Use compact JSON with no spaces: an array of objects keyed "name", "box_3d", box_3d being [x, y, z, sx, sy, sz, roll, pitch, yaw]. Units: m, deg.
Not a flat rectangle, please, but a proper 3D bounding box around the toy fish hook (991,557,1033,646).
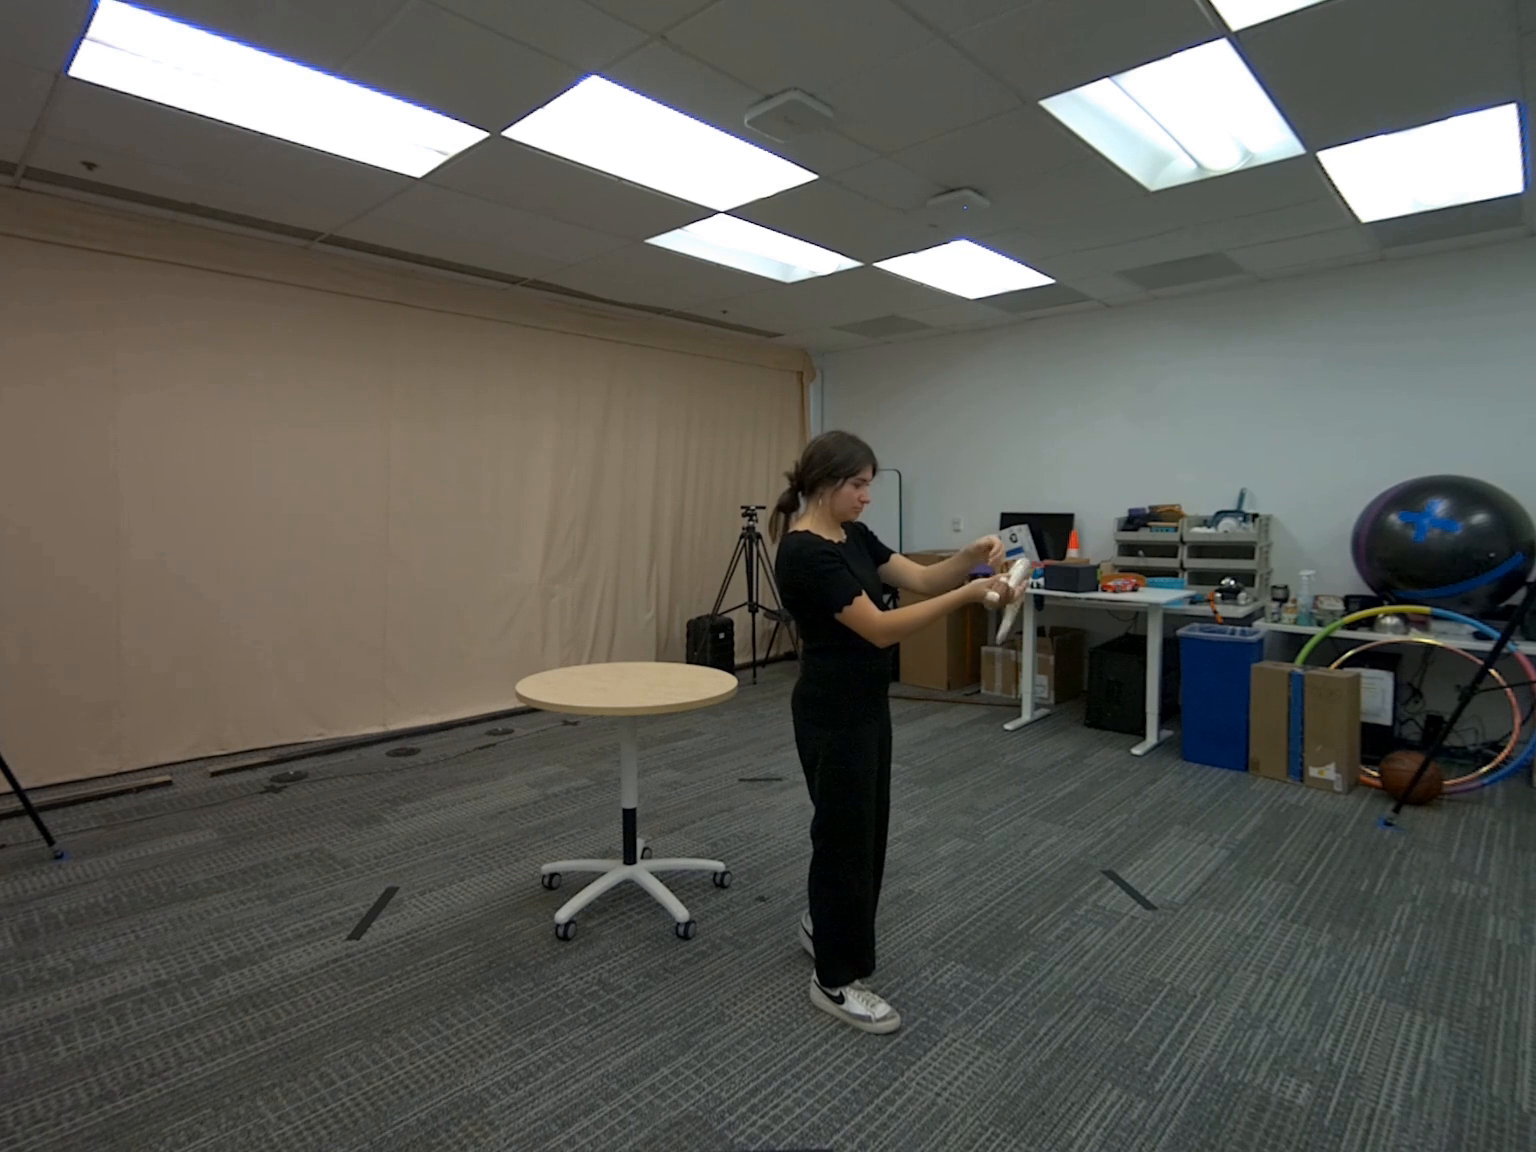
[{"name":"toy fish hook","box_3d":[0.573,0.079,2.014,0.049,0.223,0.495,12,11,25]}]
